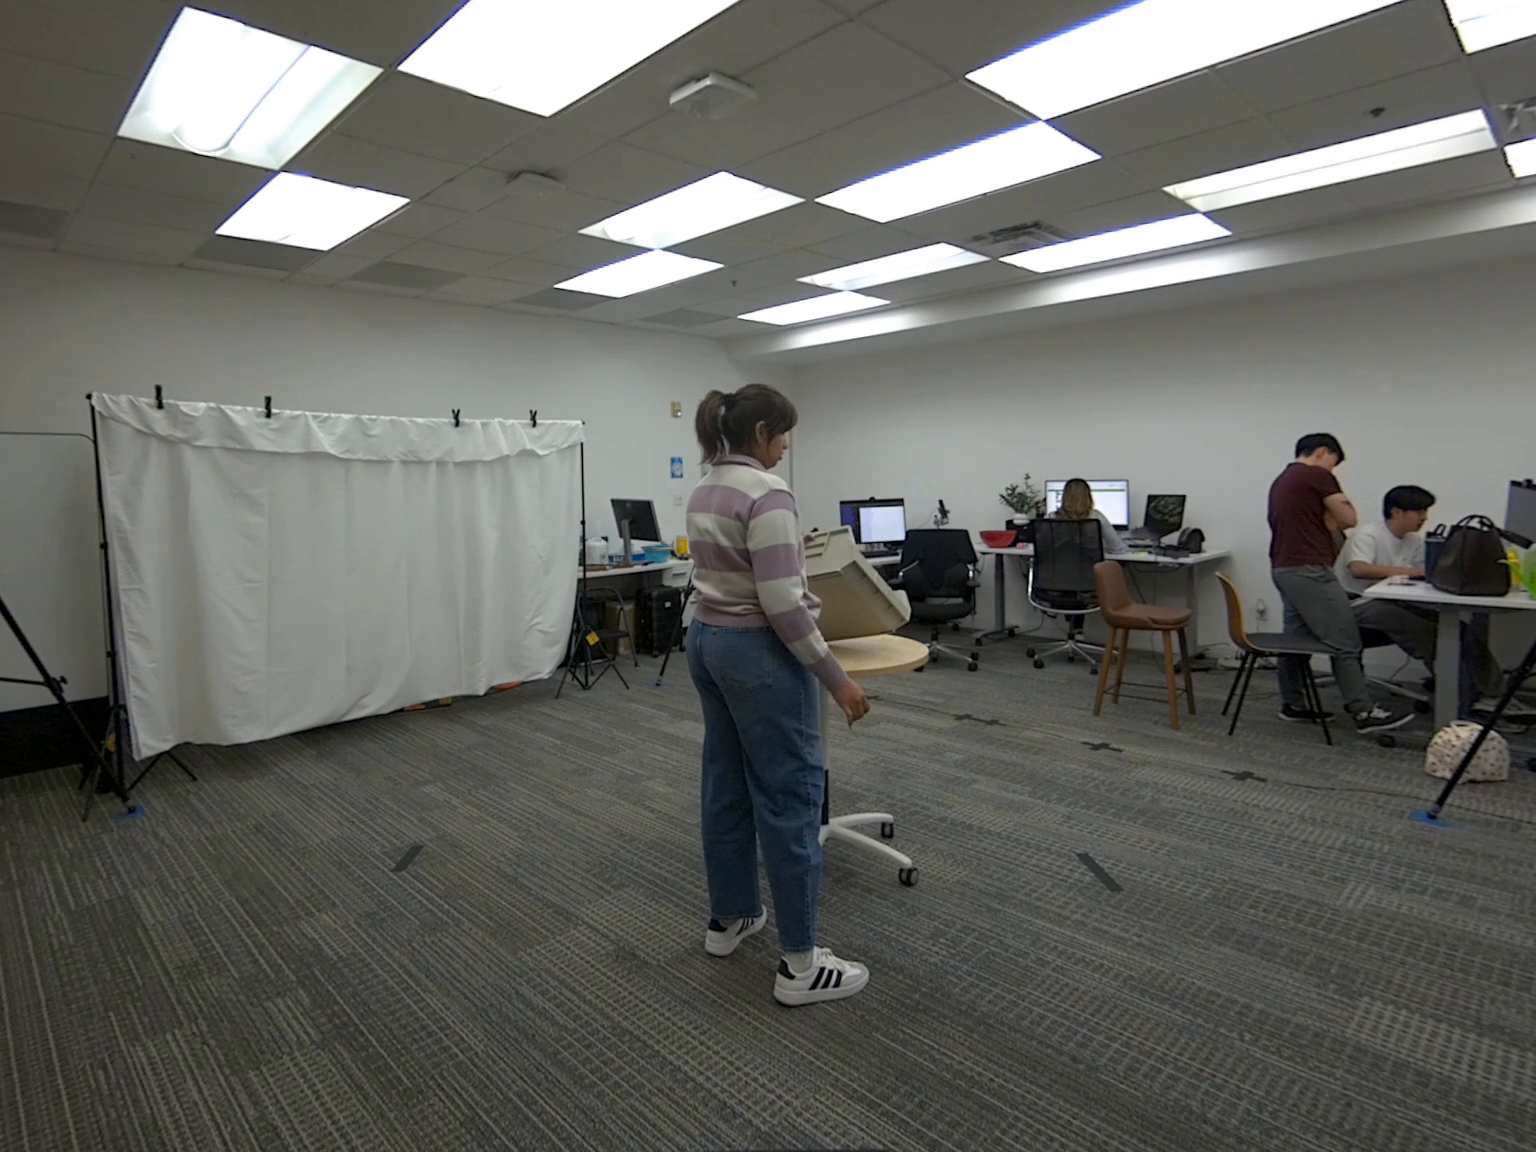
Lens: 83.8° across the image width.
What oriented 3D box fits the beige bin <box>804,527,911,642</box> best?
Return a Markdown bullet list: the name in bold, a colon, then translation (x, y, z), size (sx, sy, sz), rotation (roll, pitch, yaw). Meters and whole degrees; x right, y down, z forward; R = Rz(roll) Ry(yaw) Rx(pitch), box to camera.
- **beige bin**: translation (0.242, 0.040, 3.015), size (0.385, 0.192, 0.406), rotation (-13, -40, 33)
